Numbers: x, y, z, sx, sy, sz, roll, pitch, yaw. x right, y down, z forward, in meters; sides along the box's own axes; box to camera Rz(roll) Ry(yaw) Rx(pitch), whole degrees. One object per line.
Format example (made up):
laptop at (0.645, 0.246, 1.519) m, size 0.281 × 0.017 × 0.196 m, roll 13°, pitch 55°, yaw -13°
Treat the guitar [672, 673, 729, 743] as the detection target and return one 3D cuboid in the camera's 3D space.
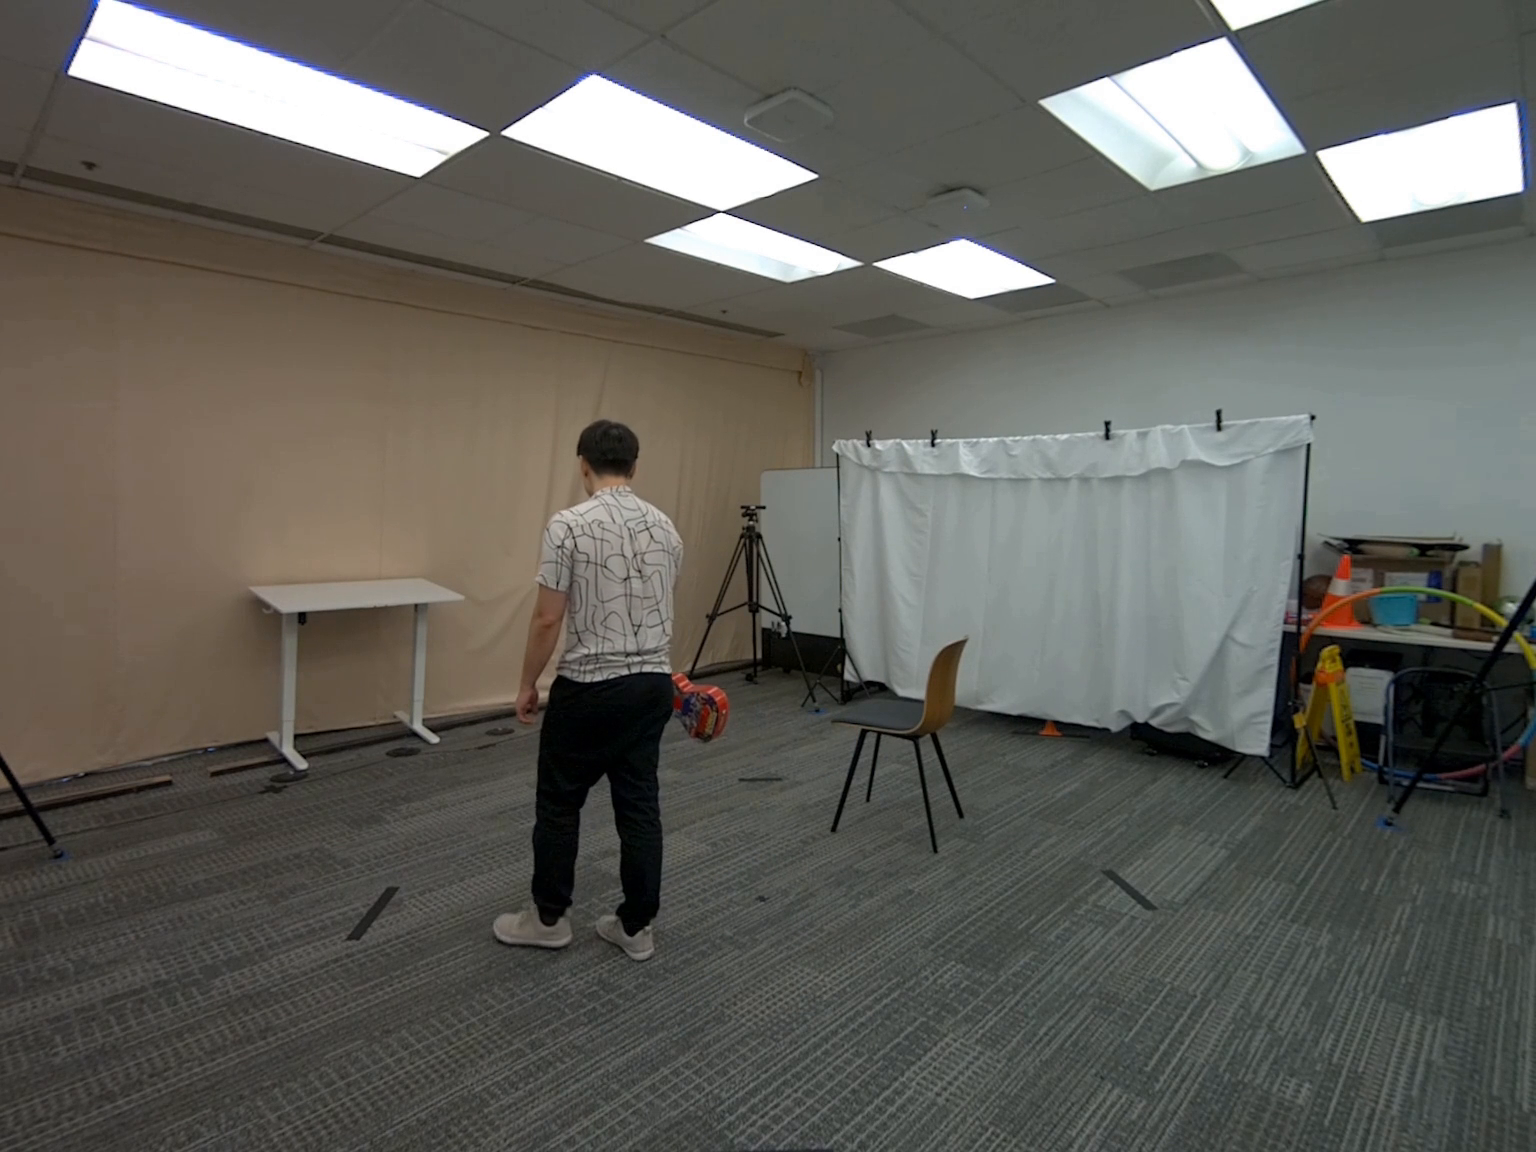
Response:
guitar at (-0.350, 0.384, 2.940) m, size 0.511 × 0.192 × 0.069 m, roll 34°, pitch 27°, yaw 23°
